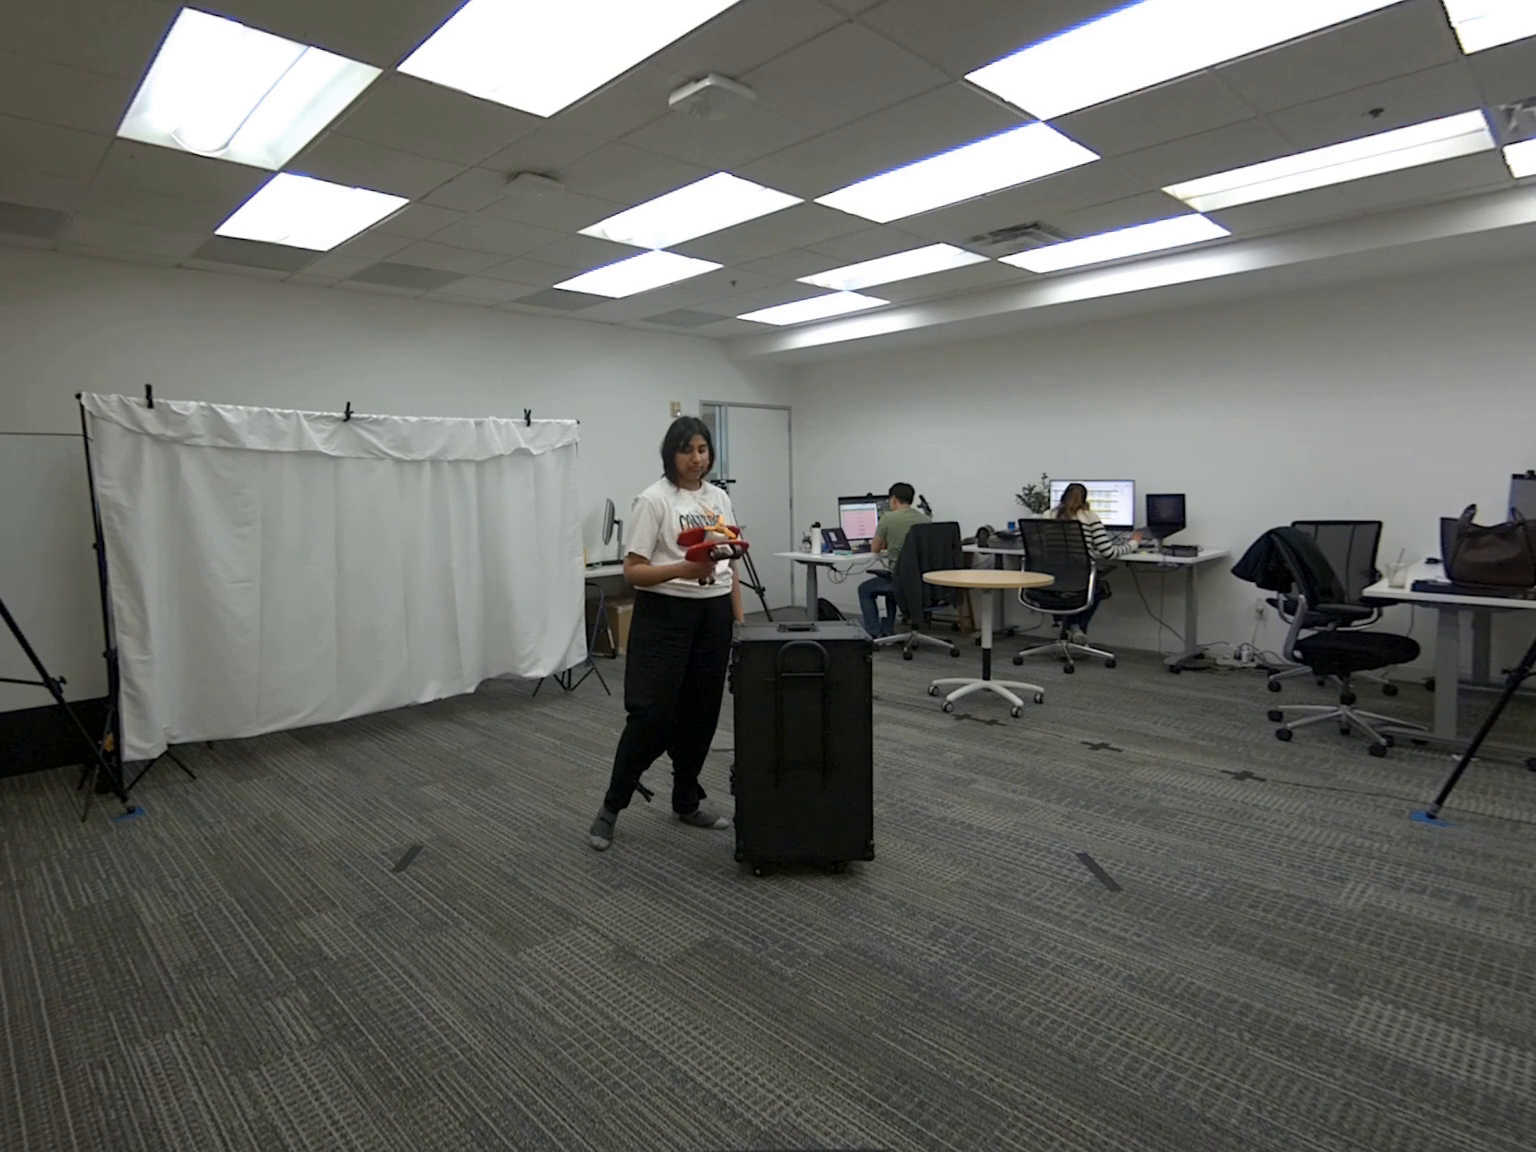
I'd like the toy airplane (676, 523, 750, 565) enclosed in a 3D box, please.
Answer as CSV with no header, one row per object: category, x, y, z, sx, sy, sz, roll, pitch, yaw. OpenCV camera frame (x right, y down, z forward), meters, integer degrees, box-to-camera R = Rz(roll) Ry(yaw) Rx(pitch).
toy airplane,-0.218,-0.078,3.080,0.261,0.160,0.243,-31,-24,25
